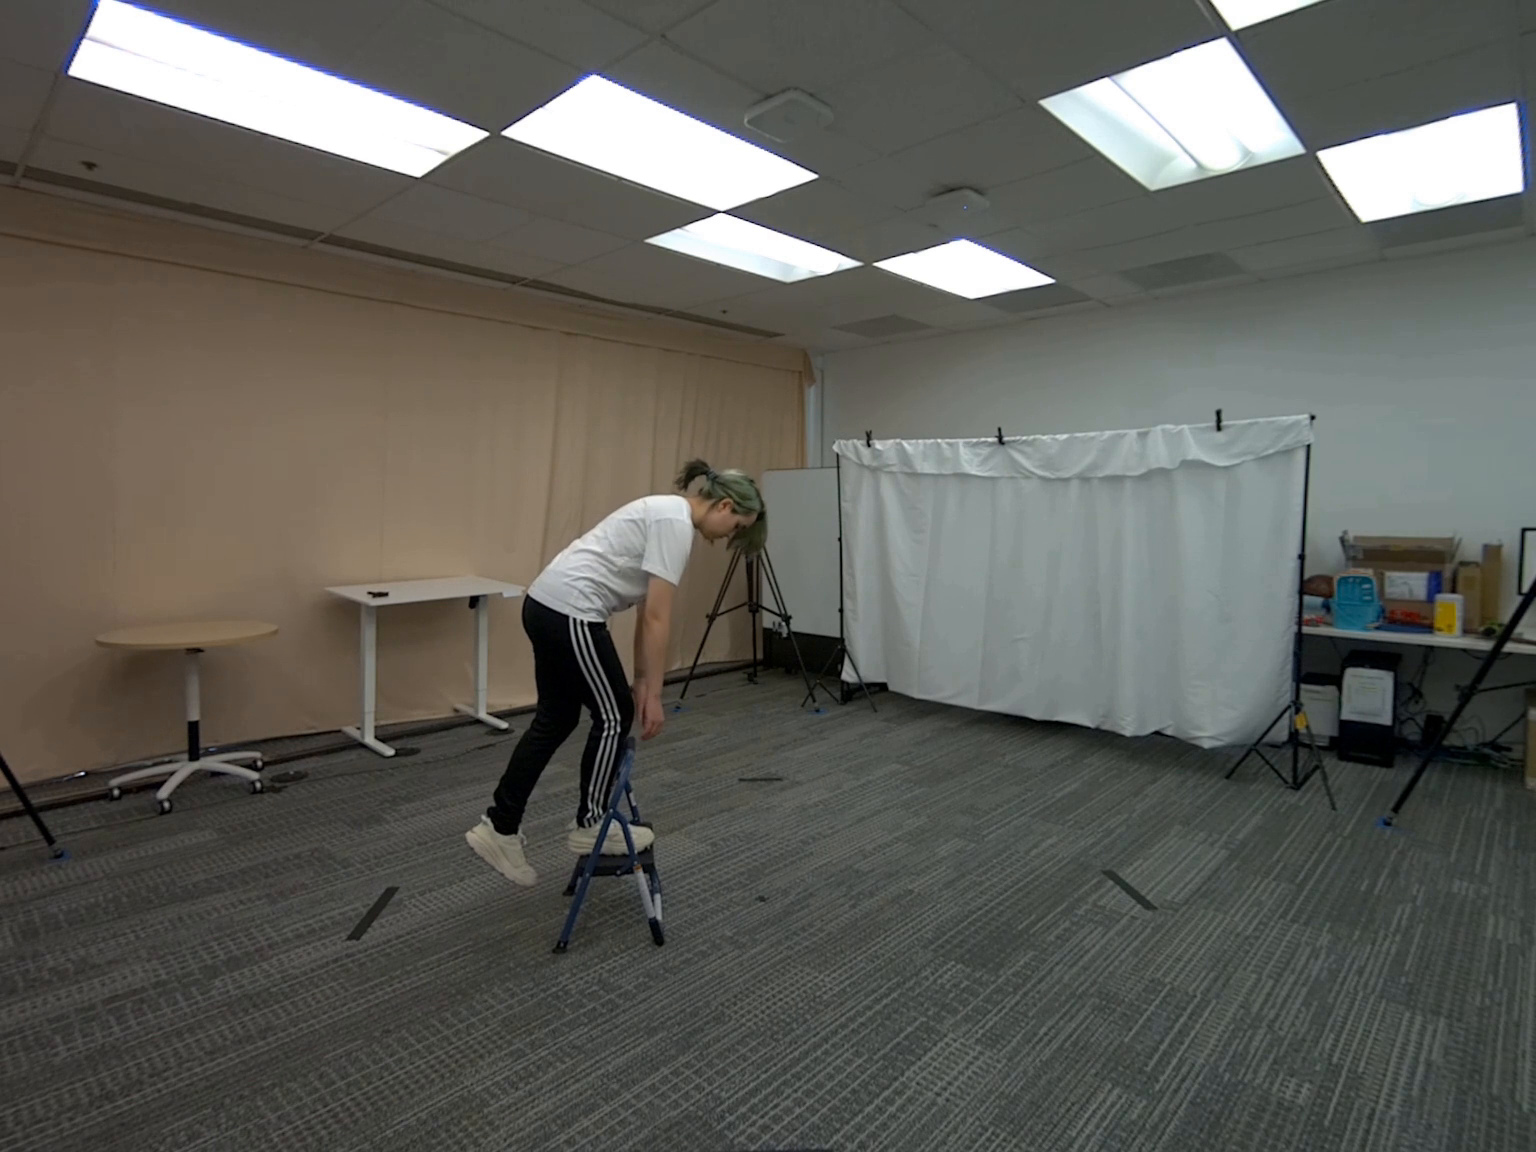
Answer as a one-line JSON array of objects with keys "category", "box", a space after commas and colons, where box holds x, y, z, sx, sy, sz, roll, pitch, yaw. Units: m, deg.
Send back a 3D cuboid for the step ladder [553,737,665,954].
[{"category": "step ladder", "box": [-0.533, 0.865, 2.837, 0.346, 0.605, 0.435, -1, 3, -8]}]
